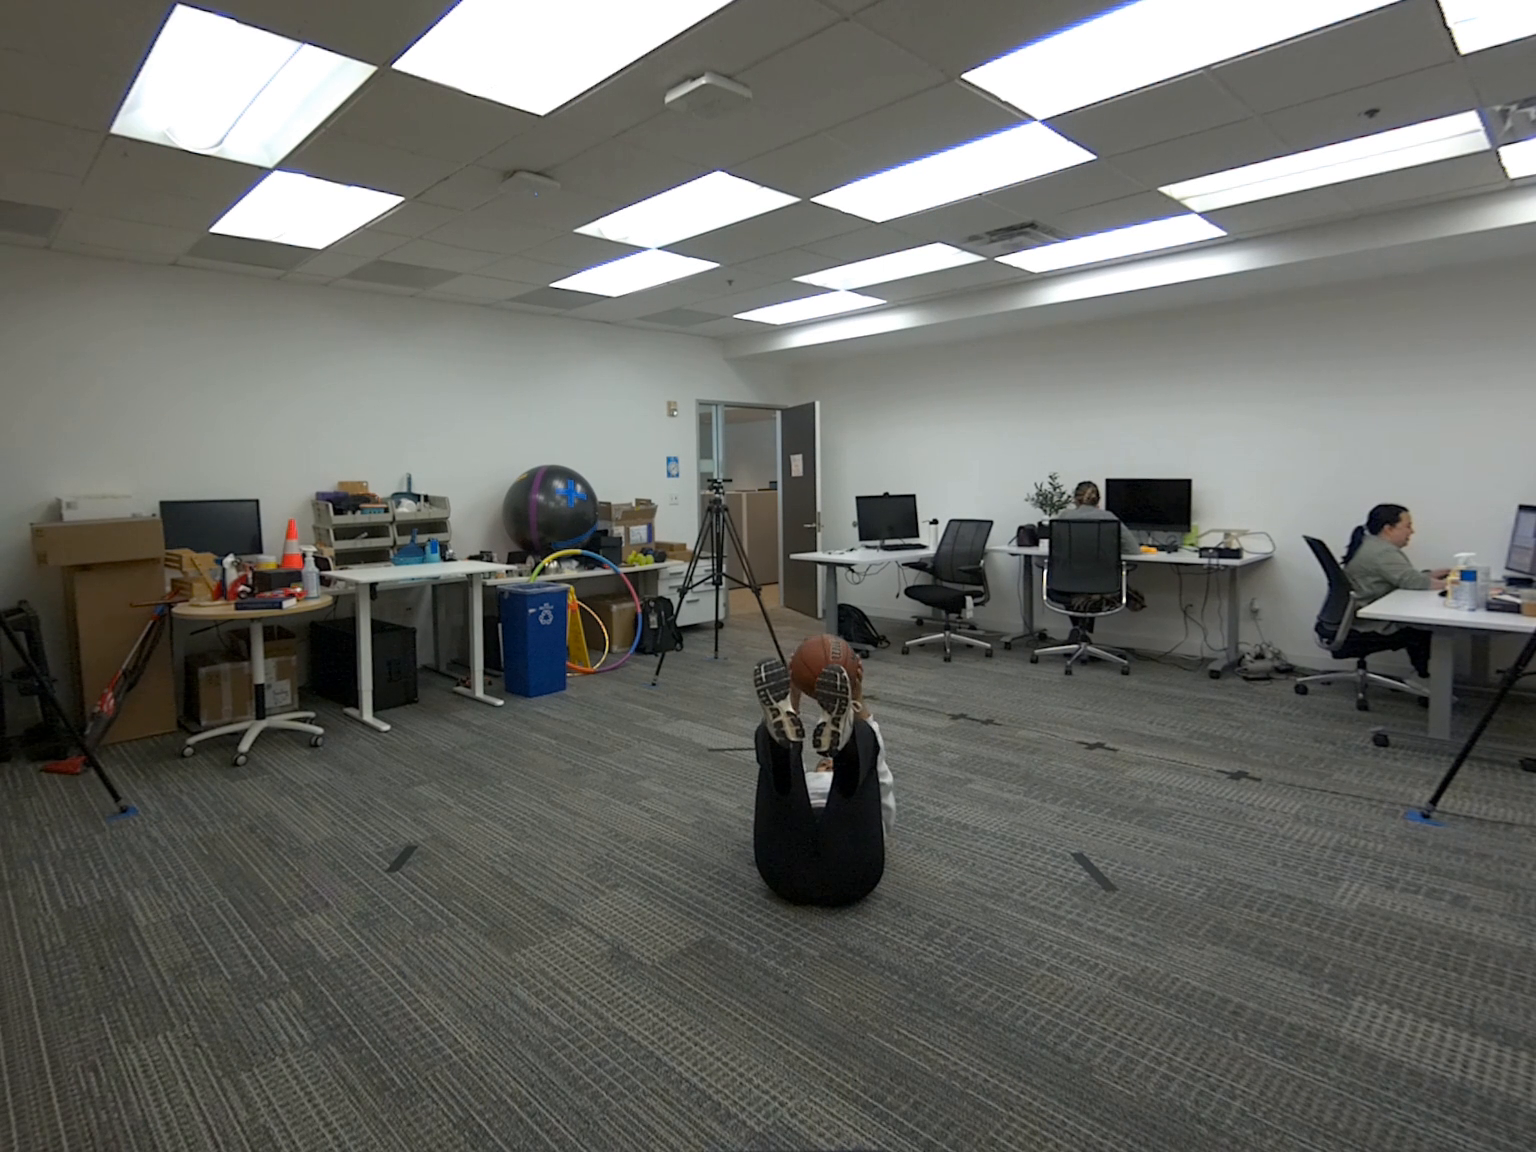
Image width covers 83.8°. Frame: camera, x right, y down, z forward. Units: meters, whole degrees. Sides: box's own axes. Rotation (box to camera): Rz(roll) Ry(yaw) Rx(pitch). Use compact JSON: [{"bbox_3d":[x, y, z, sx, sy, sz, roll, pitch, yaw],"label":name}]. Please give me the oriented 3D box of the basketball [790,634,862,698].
[{"bbox_3d":[0.215,0.332,3.085,0.236,0.235,0.237,-1,4,-2],"label":"basketball"}]
